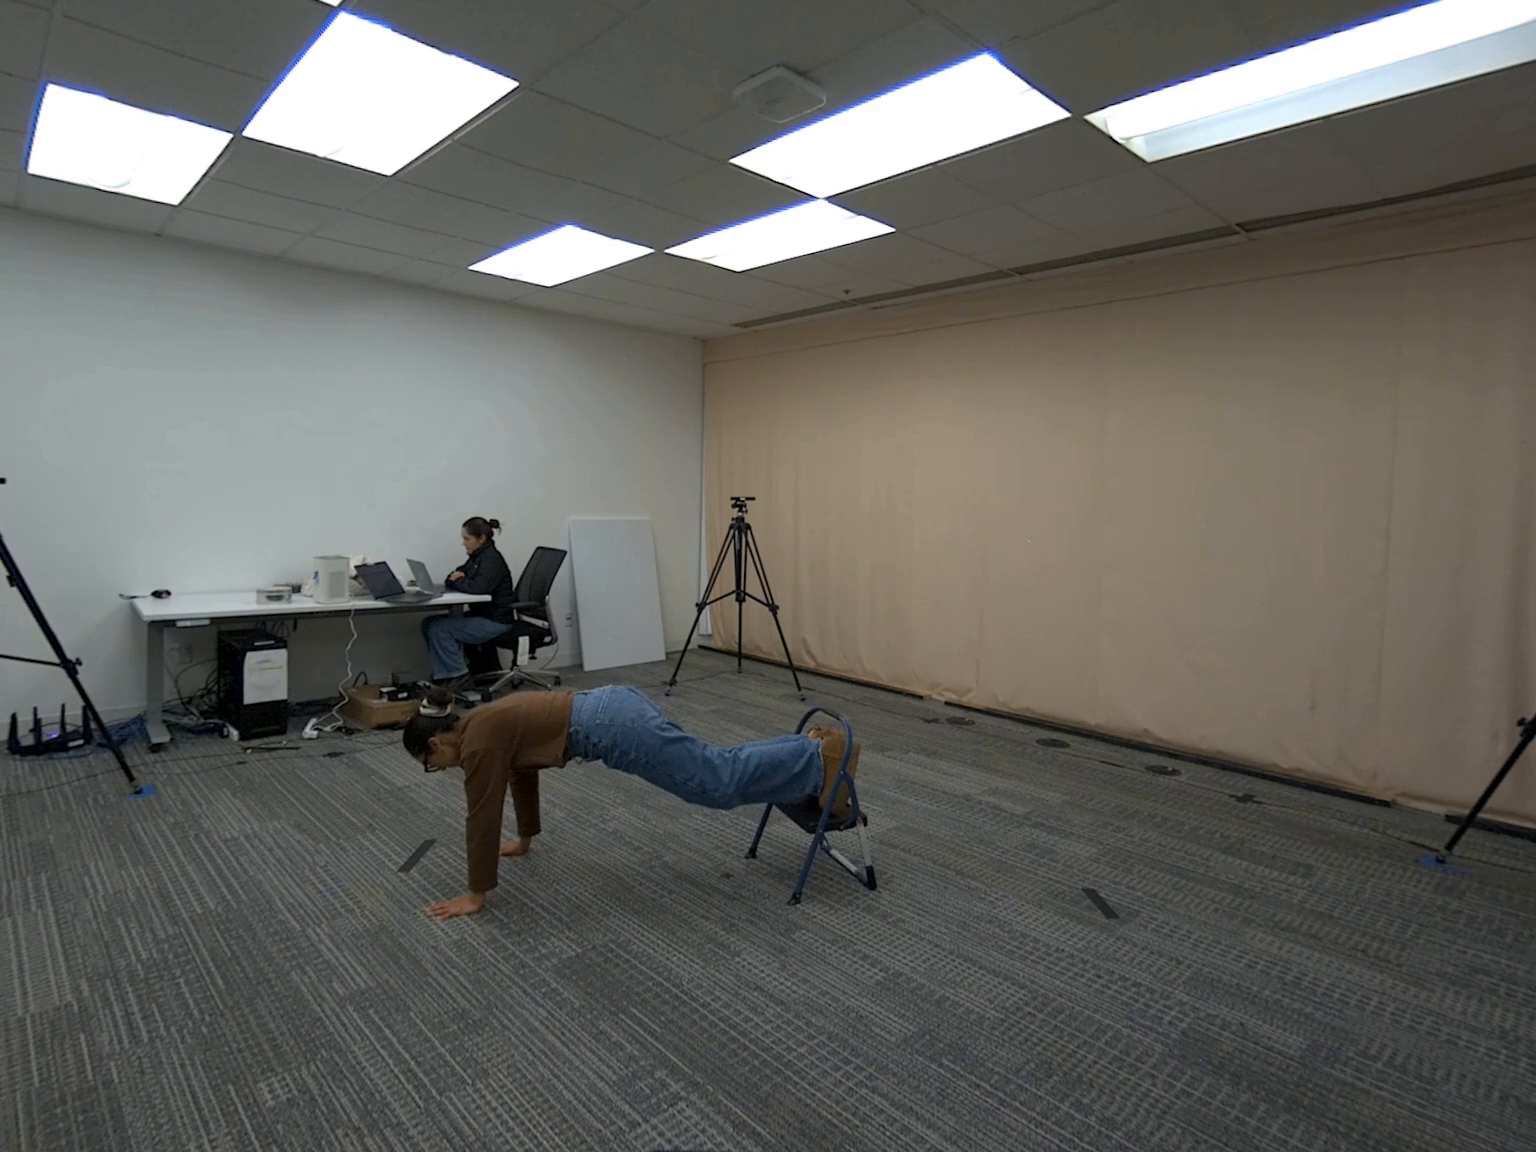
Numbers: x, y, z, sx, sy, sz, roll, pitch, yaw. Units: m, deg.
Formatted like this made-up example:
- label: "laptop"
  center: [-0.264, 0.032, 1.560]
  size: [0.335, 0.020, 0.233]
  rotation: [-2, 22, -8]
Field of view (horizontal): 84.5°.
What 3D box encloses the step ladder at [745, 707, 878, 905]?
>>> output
- label: "step ladder"
  center: [0.158, 0.812, 3.129]
  size: [0.343, 0.605, 0.439]
  rotation: [0, 4, -23]
